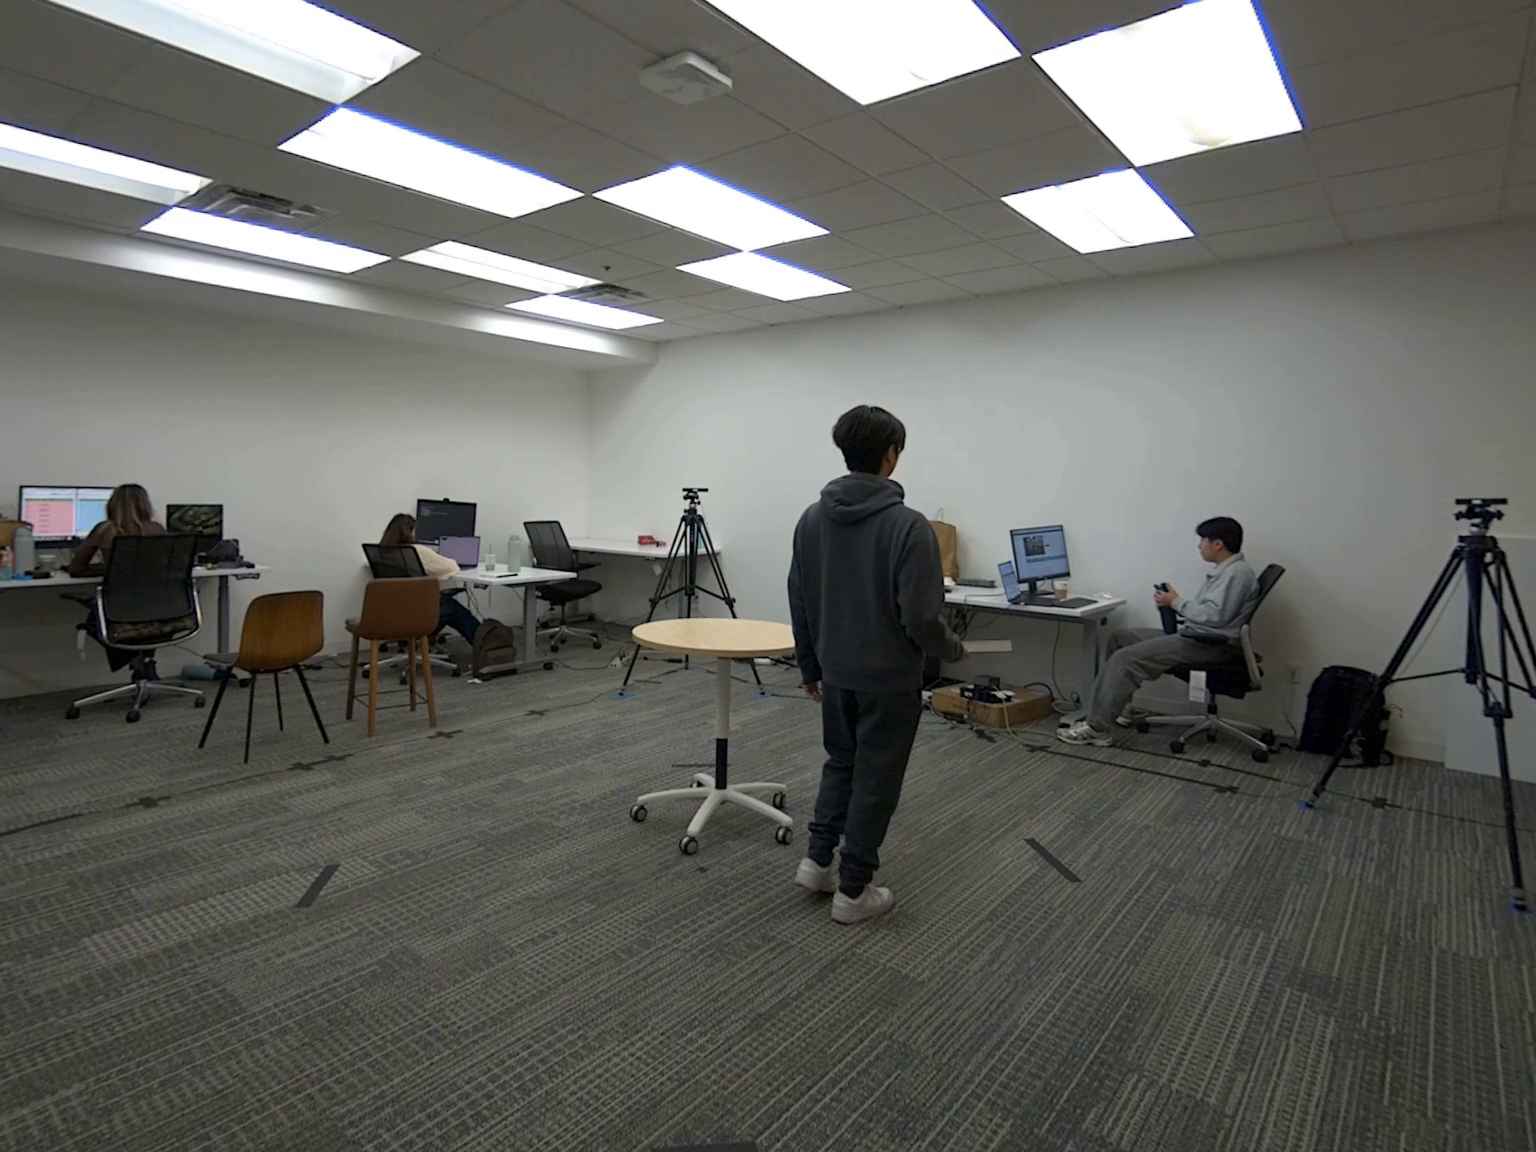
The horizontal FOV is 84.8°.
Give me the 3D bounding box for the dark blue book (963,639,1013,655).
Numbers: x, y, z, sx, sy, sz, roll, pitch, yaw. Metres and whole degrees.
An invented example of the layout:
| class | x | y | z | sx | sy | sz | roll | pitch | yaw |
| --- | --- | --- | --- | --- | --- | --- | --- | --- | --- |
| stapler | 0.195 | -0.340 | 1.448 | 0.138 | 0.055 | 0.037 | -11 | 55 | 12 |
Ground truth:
| class | x | y | z | sx | sy | sz | roll | pitch | yaw |
| --- | --- | --- | --- | --- | --- | --- | --- | --- | --- |
| dark blue book | 0.676 | 0.236 | 2.879 | 0.244 | 0.045 | 0.163 | -1 | -4 | -6 |
